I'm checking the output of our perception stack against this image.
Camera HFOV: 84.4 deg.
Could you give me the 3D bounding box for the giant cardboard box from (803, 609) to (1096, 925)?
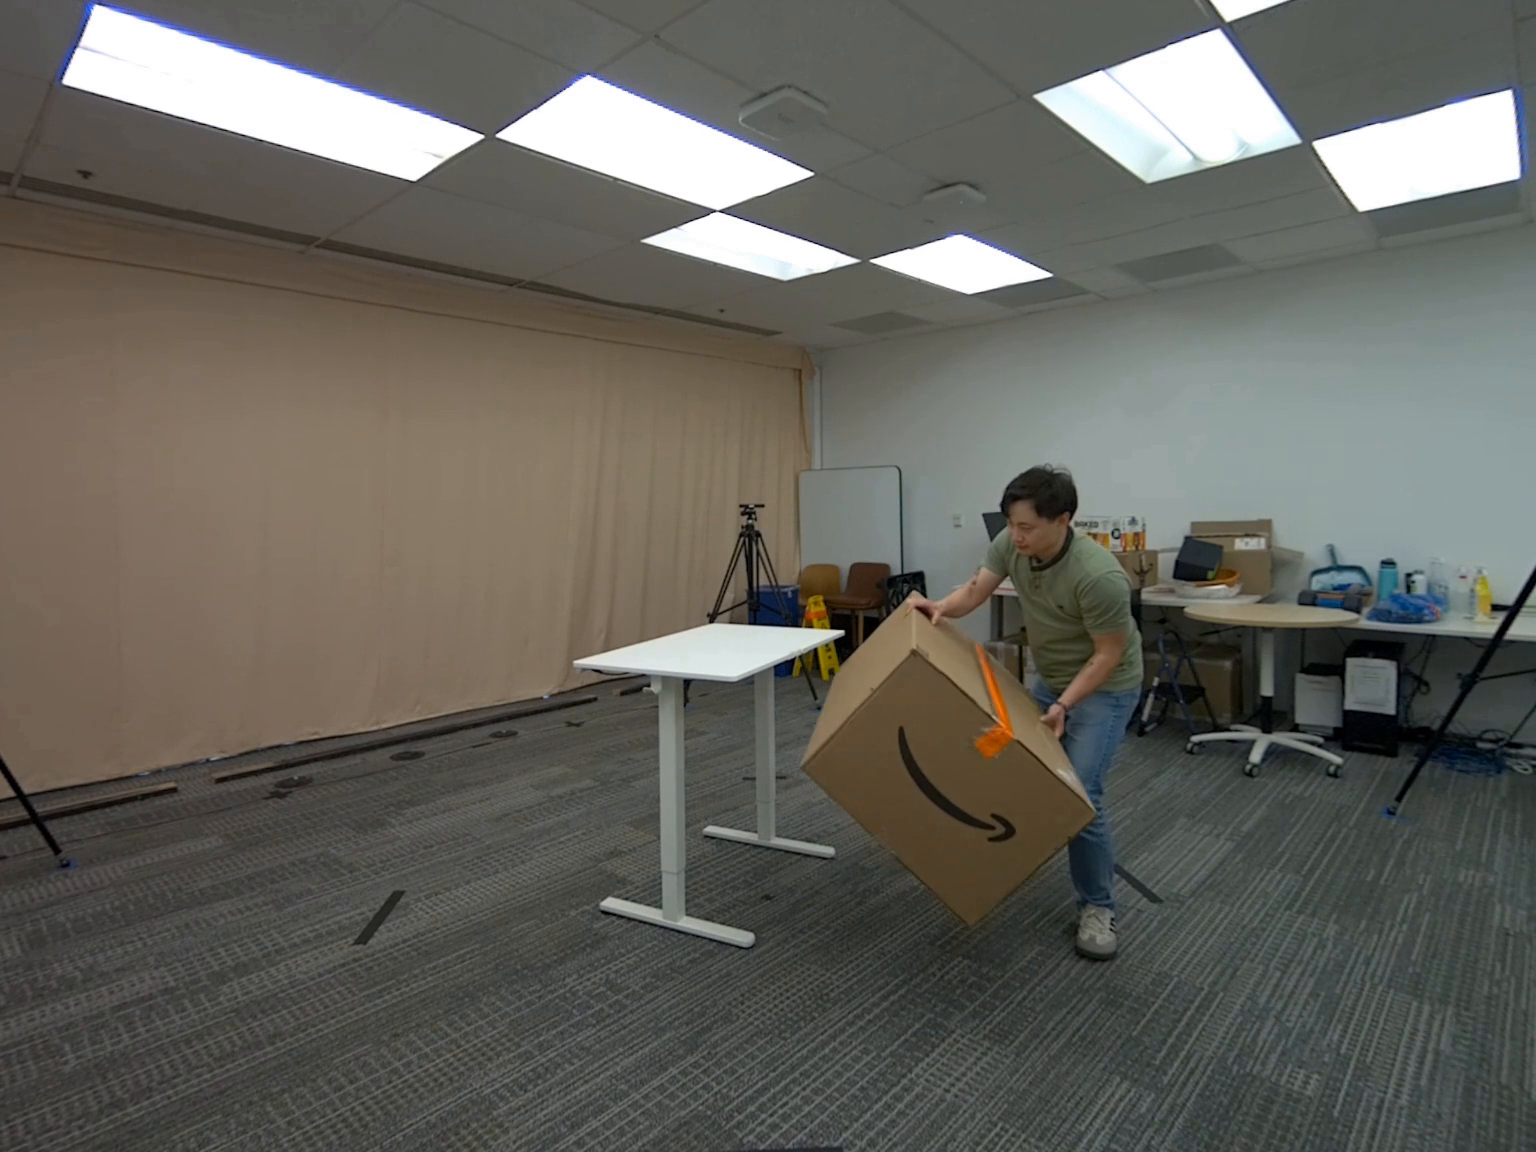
[{"bbox_3d":[0.516,0.459,2.530,0.581,0.427,1.017,43,12,3],"label":"giant cardboard box"}]
